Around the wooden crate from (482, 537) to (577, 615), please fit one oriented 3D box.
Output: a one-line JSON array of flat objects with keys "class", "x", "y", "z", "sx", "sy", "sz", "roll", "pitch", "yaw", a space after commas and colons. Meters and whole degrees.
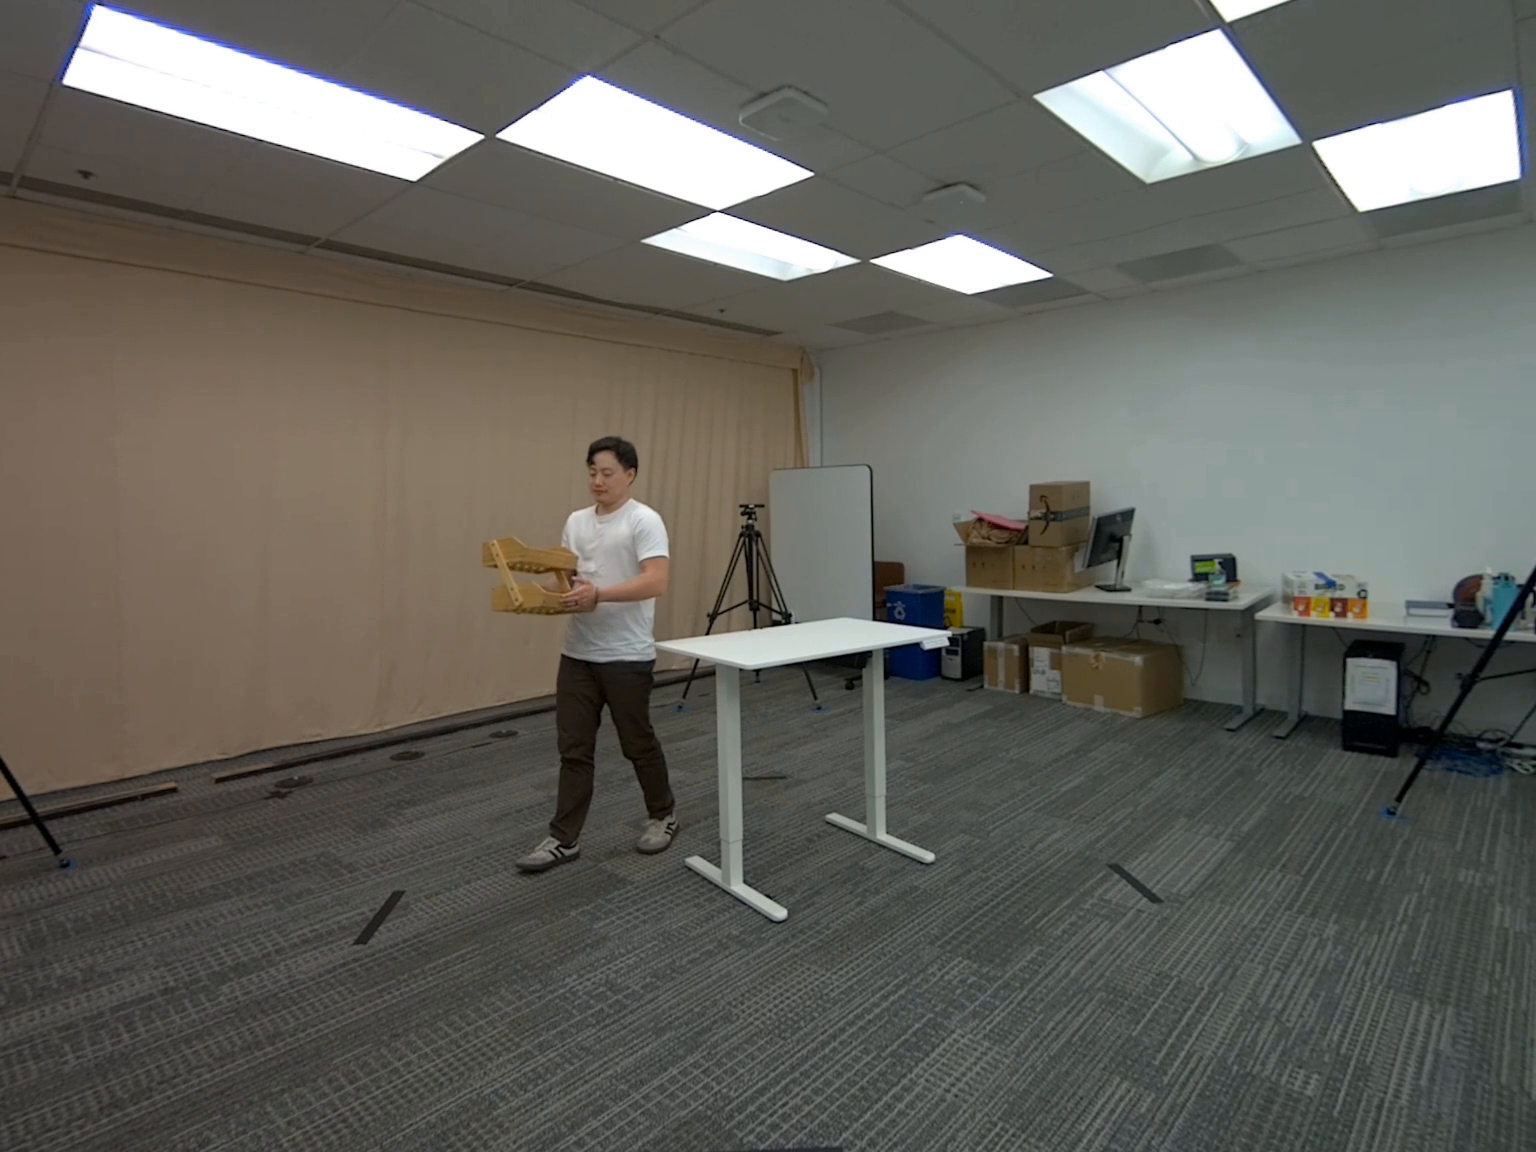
[{"class": "wooden crate", "x": -0.841, "y": -0.004, "z": 3.118, "sx": 0.309, "sy": 0.275, "sz": 0.314, "roll": -7, "pitch": -10, "yaw": 27}]
